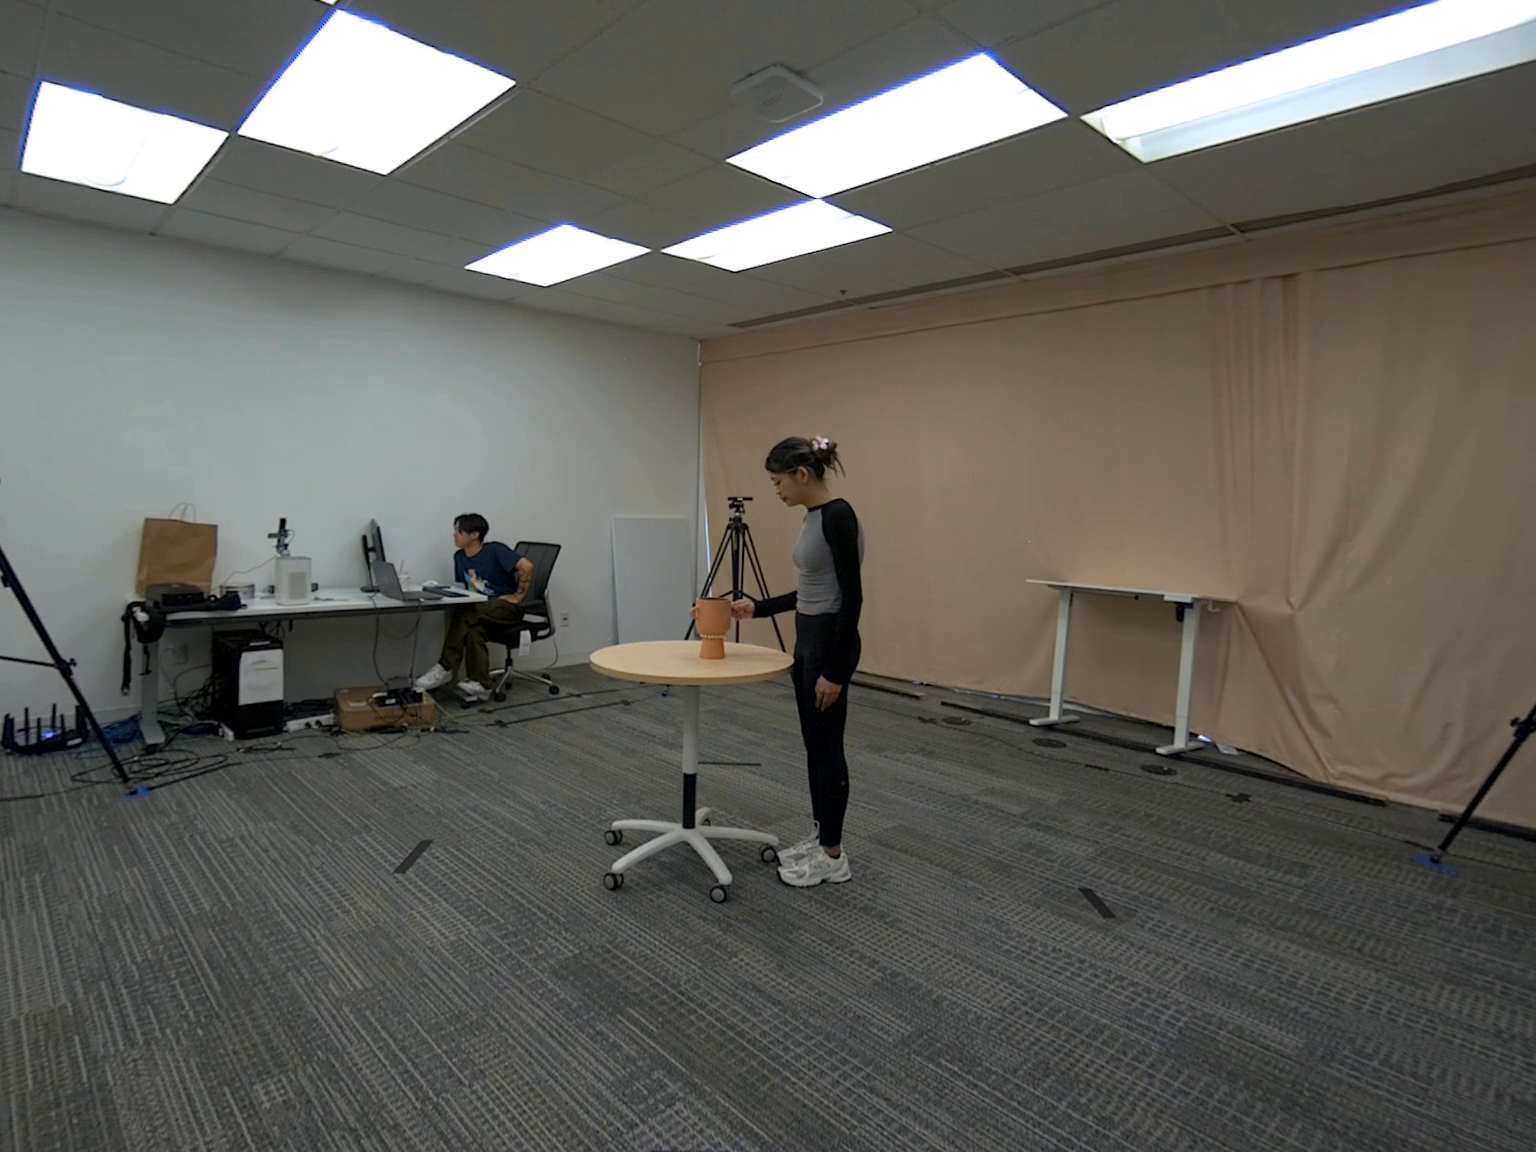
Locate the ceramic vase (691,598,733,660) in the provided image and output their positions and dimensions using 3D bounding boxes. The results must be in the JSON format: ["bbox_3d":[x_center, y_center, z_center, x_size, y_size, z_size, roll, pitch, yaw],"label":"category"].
[{"bbox_3d":[-0.210,0.194,3.172,0.160,0.219,0.134,1,3,7],"label":"ceramic vase"}]
